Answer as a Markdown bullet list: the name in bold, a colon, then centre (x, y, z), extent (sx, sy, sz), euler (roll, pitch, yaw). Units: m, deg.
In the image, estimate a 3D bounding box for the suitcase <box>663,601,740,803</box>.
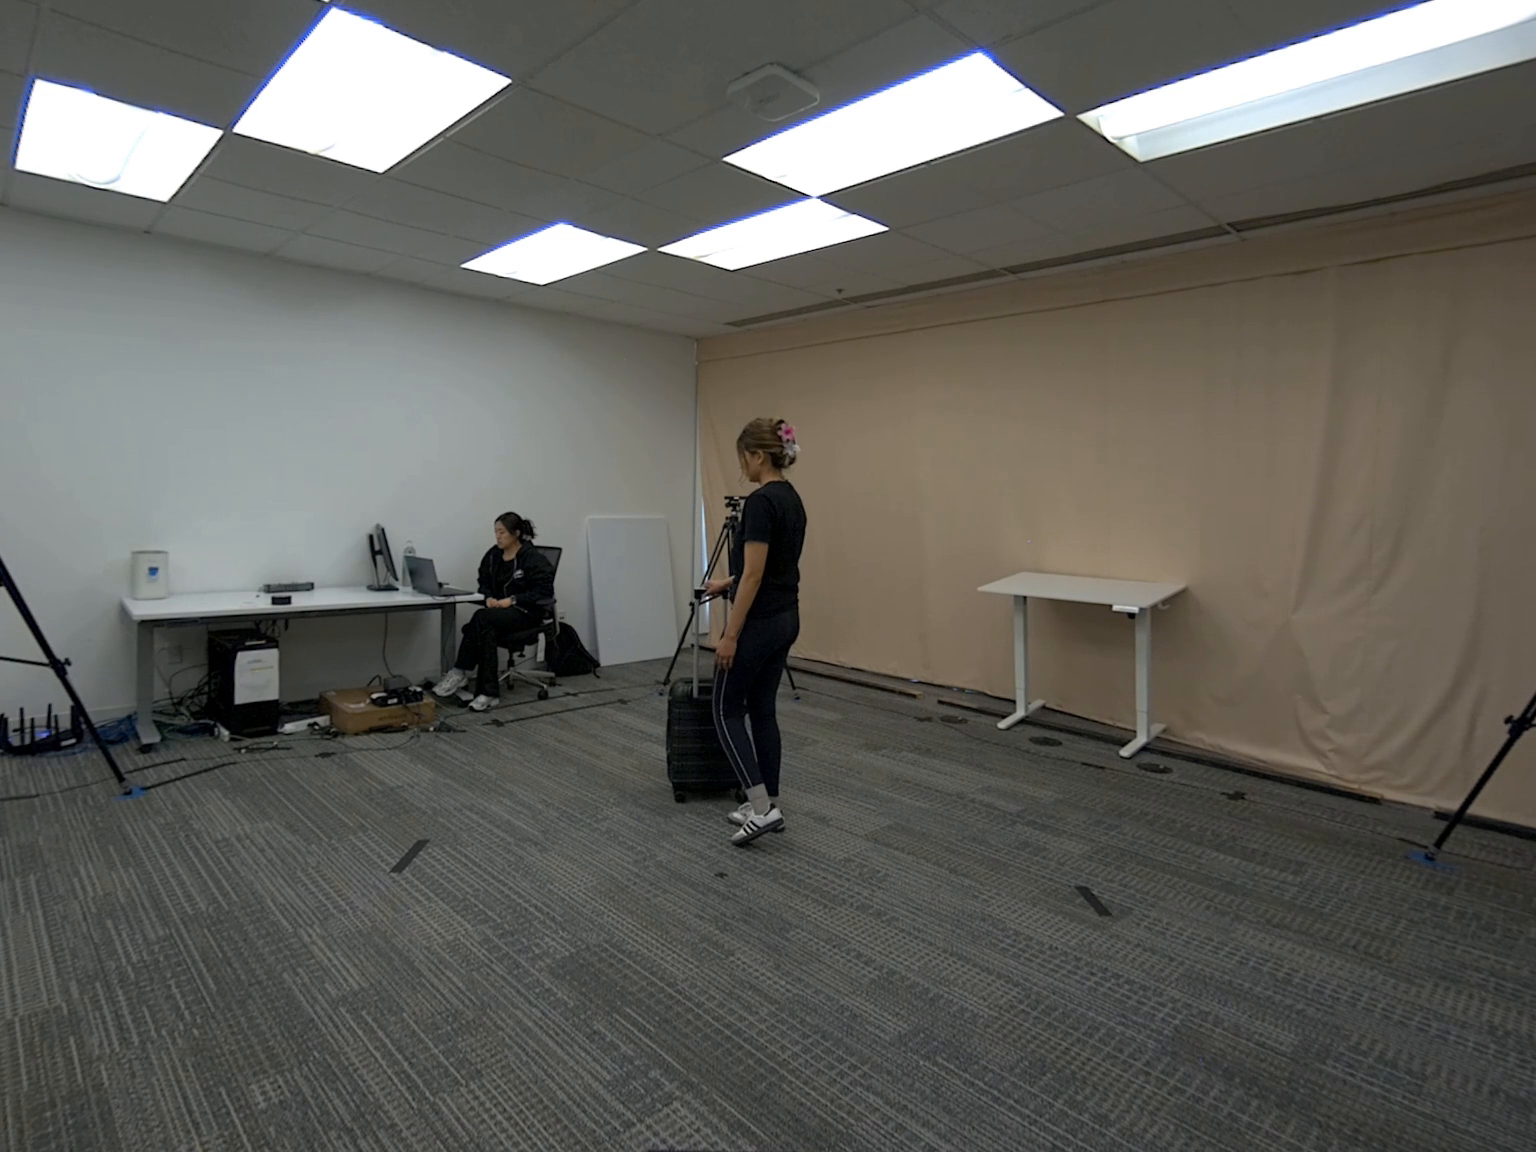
- **suitcase**: centre (-0.295, 0.546, 3.944), extent (0.382, 0.977, 0.259), euler (0, 2, -6)
